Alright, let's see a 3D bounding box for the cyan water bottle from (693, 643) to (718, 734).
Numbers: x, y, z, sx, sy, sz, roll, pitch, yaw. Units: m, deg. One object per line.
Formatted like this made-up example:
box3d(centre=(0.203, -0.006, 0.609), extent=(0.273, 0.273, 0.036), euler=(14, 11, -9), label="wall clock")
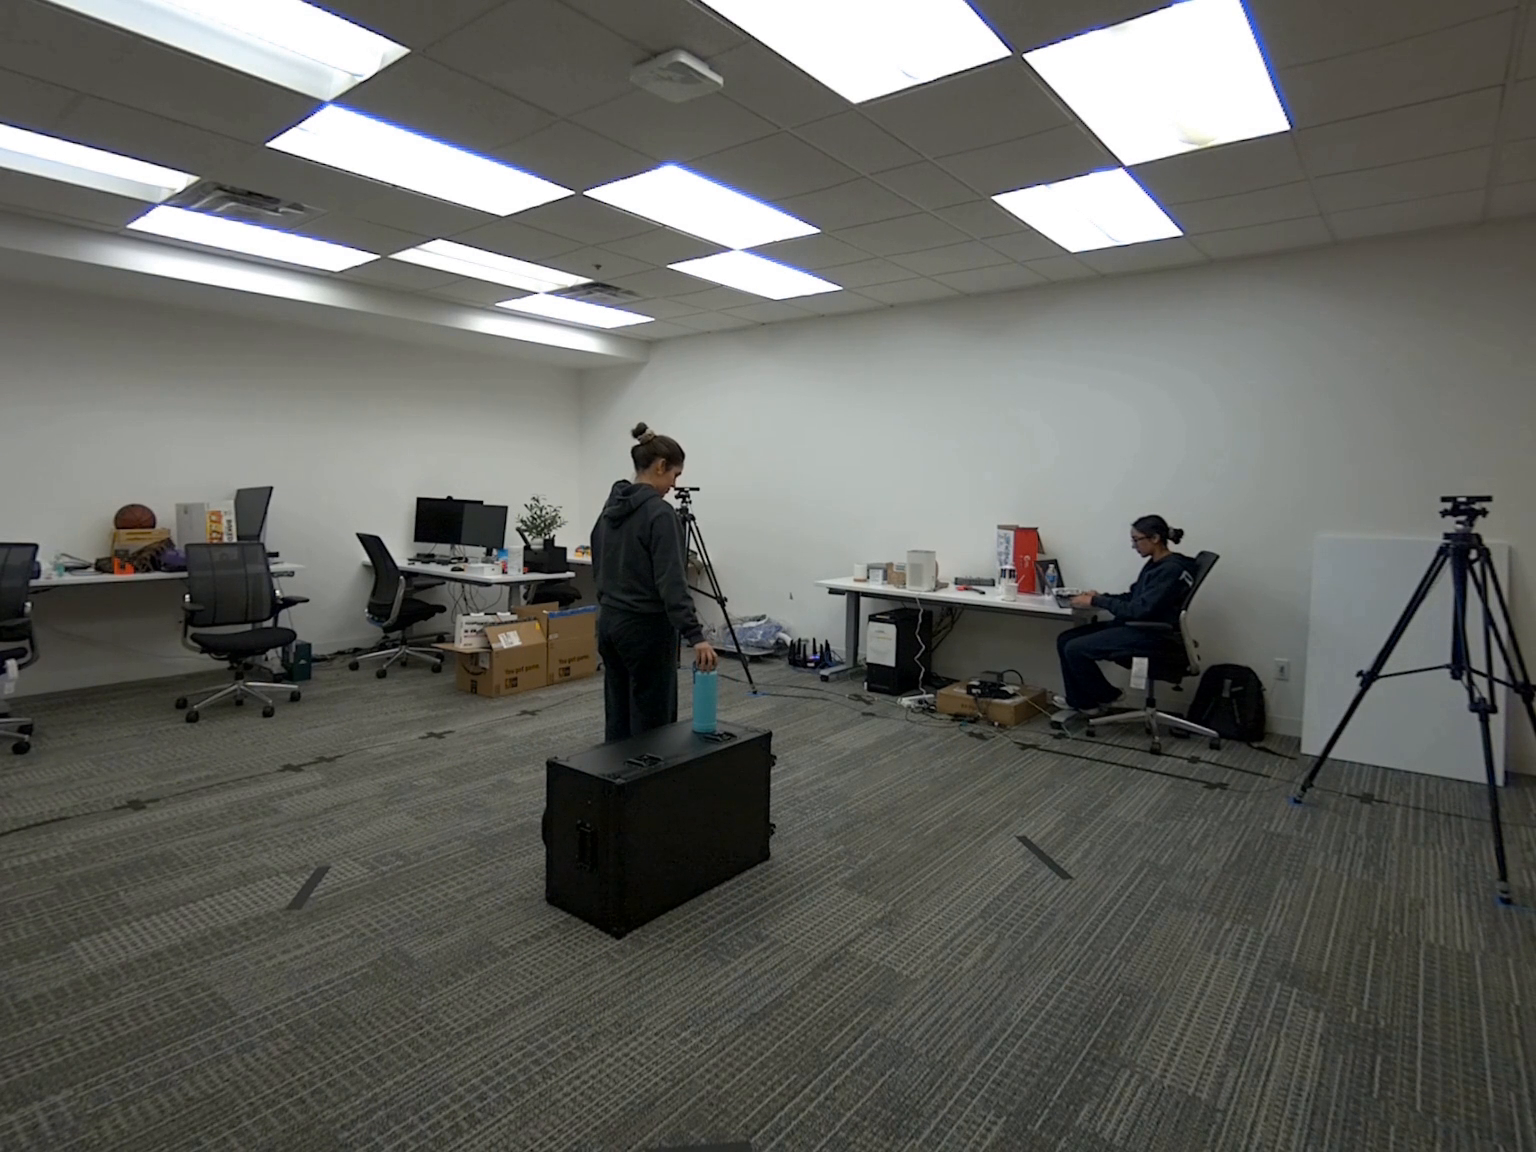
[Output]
box3d(centre=(-0.239, 0.436, 3.200), extent=(0.092, 0.283, 0.092), euler=(2, 1, -2), label="cyan water bottle")
